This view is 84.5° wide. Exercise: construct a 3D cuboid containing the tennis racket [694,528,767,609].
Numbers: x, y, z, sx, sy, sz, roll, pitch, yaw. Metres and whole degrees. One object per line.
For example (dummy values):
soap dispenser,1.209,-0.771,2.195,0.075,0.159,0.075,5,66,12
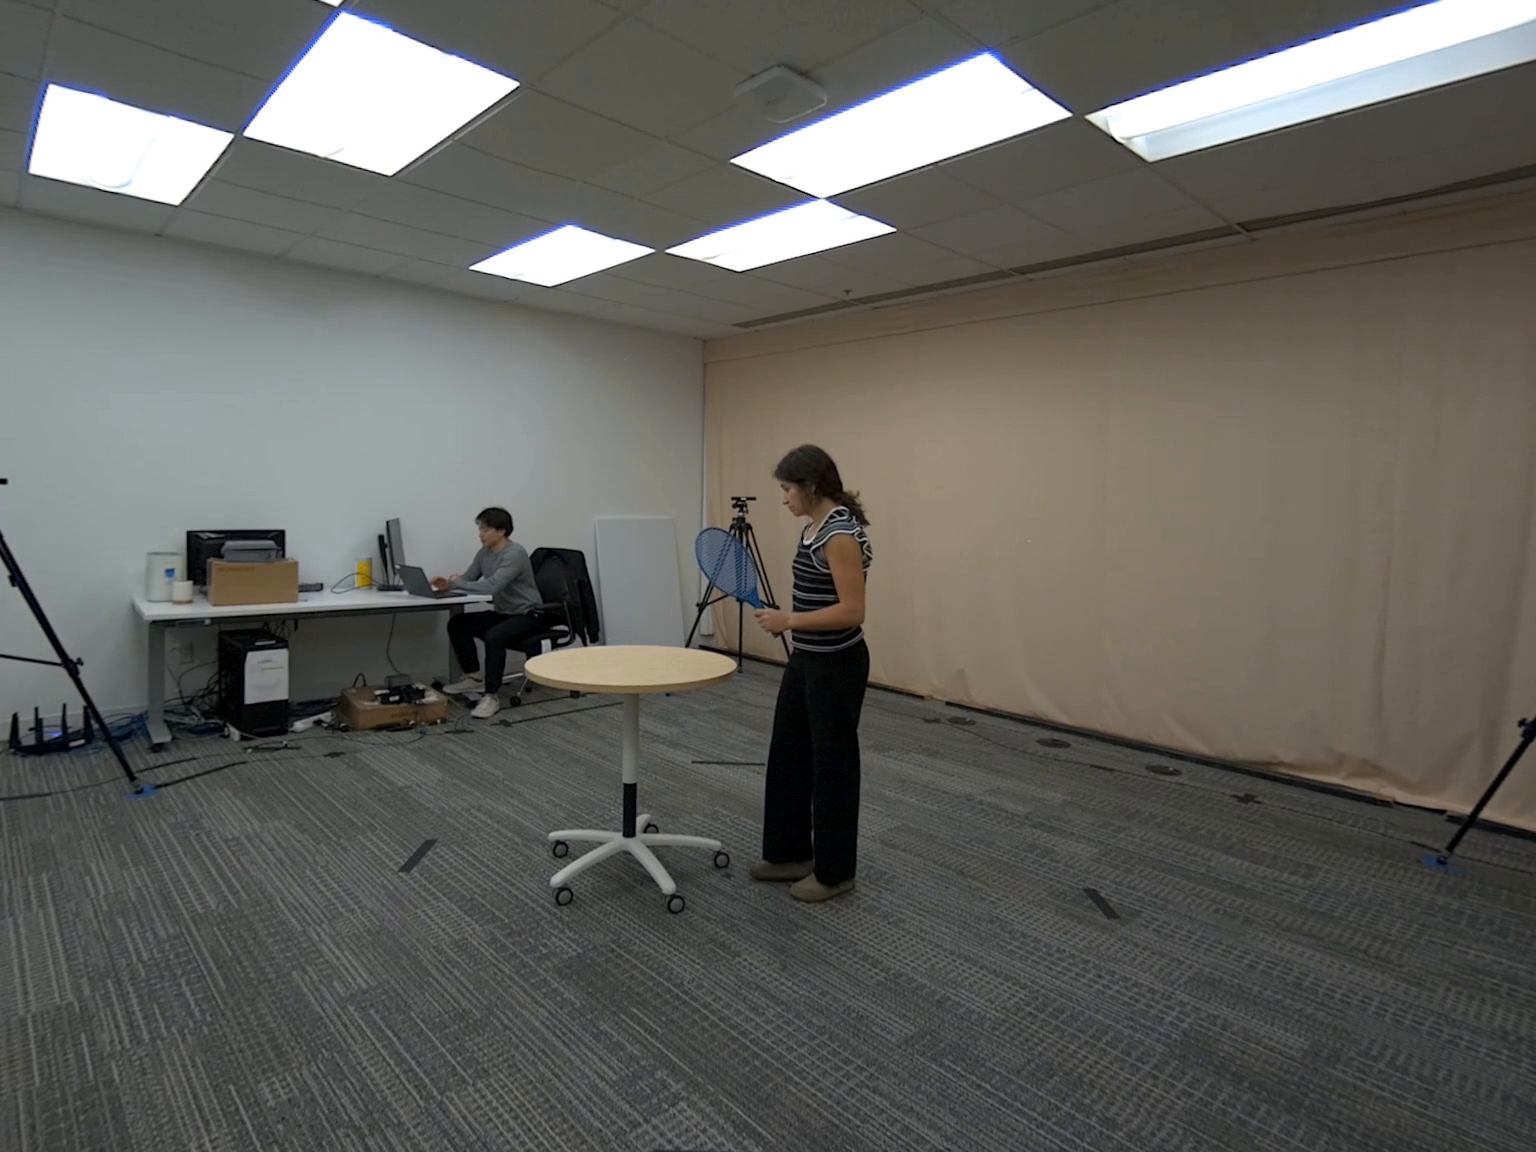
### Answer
tennis racket,-0.089,0.024,2.799,0.213,0.430,0.032,-44,7,-35
